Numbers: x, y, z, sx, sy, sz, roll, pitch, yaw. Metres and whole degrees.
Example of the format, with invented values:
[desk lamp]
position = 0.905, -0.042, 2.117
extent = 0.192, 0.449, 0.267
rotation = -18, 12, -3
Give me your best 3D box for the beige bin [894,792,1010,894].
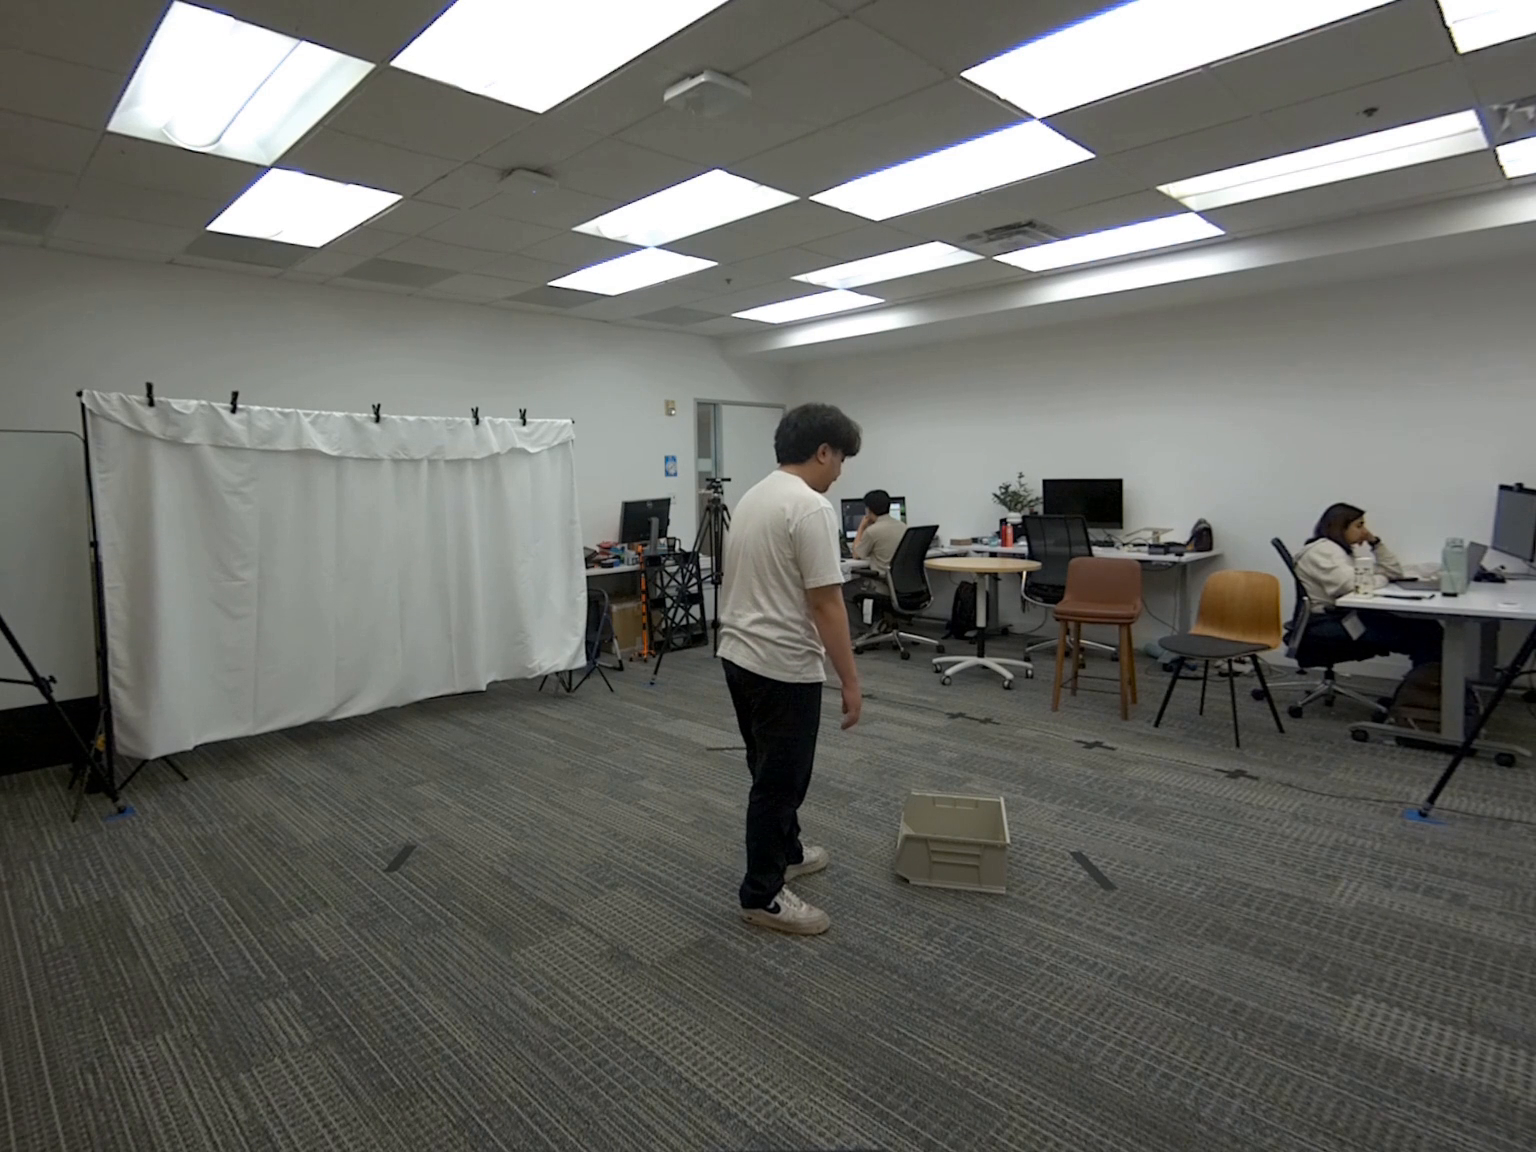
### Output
[beige bin]
position = 0.665, 0.945, 3.078
extent = 0.382, 0.188, 0.418
rotation = 1, 5, 13
